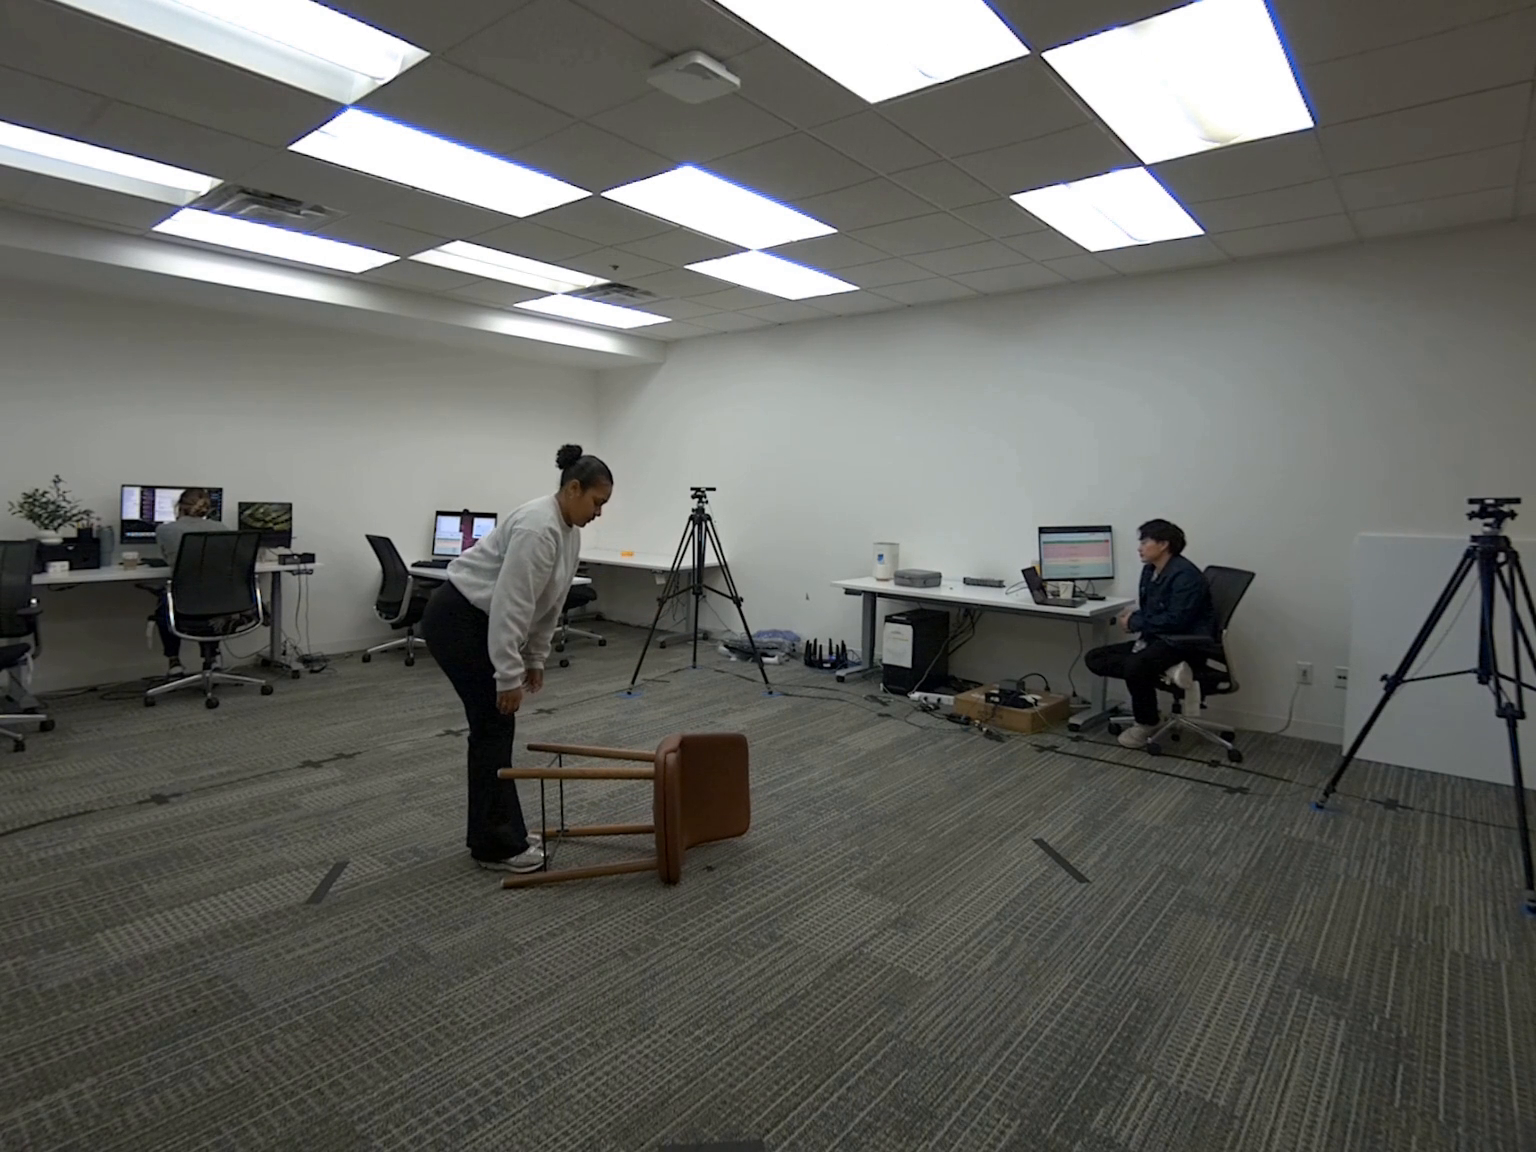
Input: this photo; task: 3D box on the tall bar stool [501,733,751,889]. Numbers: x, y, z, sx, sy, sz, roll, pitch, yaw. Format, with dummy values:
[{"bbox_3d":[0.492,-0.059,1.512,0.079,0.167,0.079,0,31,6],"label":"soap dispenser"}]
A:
[{"bbox_3d":[-0.509,0.850,3.139,0.888,0.456,0.469,-1,2,-3],"label":"tall bar stool"}]
